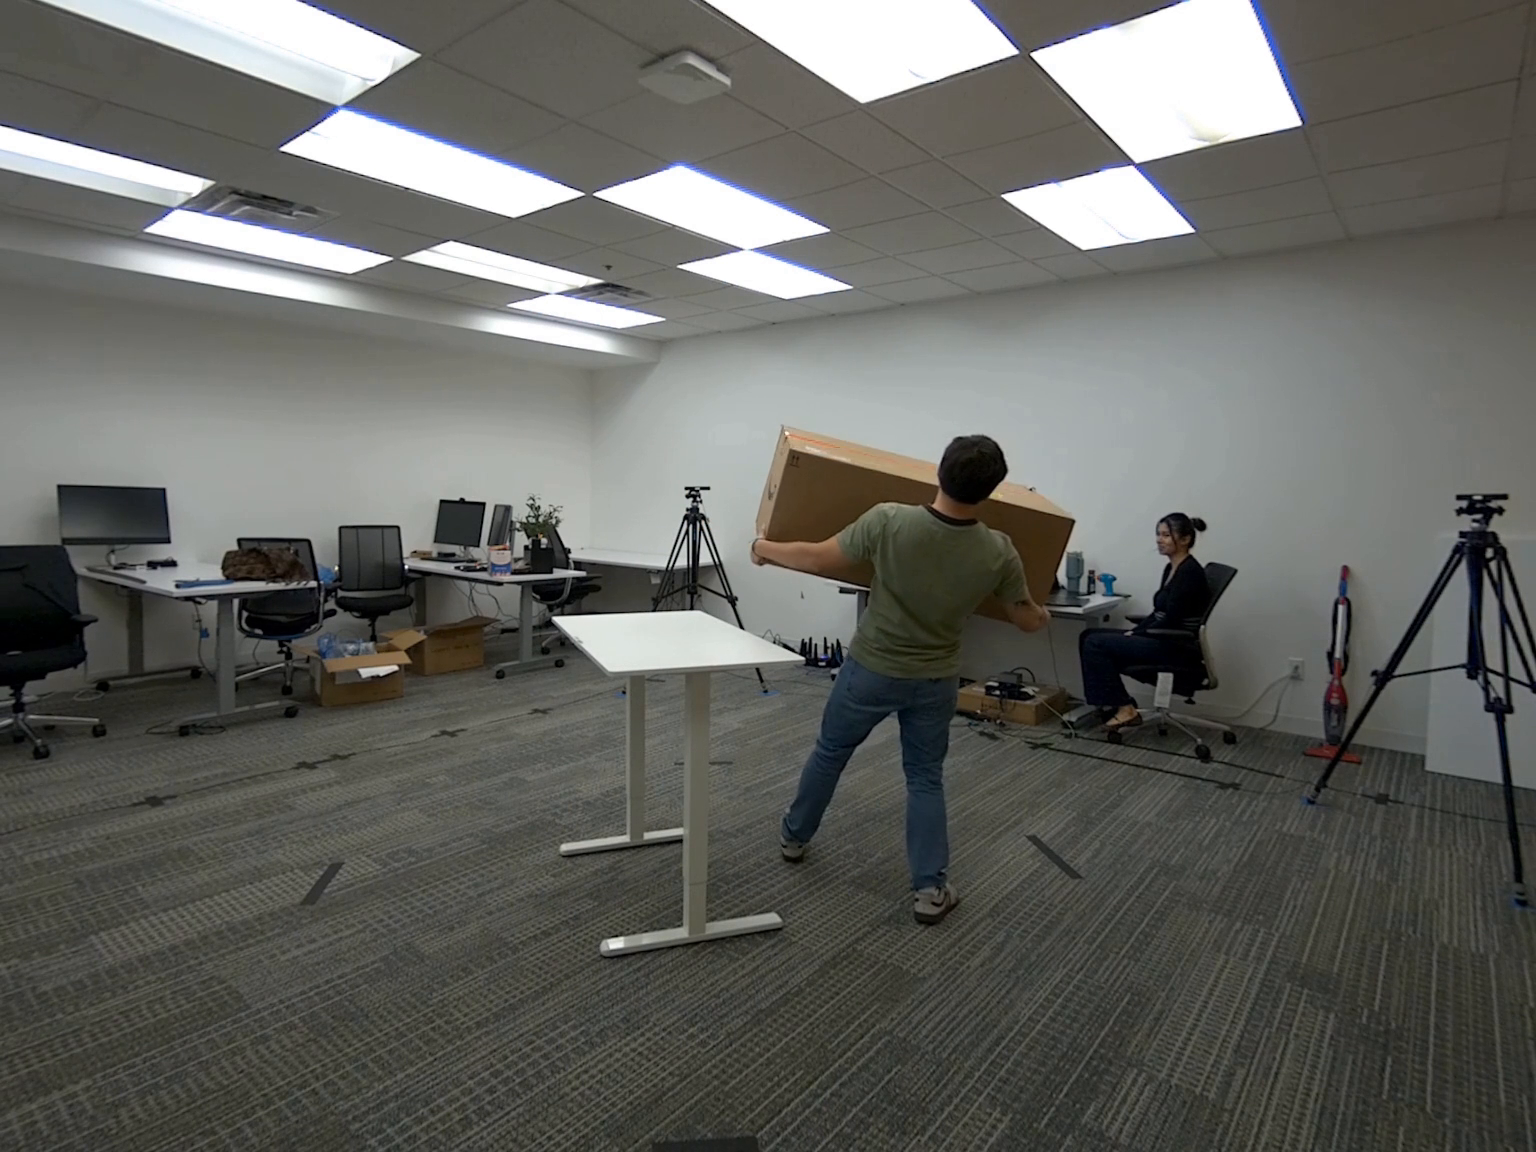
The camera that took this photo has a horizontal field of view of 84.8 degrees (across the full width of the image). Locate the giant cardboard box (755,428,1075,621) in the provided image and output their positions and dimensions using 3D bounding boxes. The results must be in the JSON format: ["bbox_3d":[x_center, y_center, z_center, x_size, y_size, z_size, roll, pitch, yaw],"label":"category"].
[{"bbox_3d":[0.493,-0.227,3.233,1.023,0.421,0.586,13,16,-3],"label":"giant cardboard box"}]
